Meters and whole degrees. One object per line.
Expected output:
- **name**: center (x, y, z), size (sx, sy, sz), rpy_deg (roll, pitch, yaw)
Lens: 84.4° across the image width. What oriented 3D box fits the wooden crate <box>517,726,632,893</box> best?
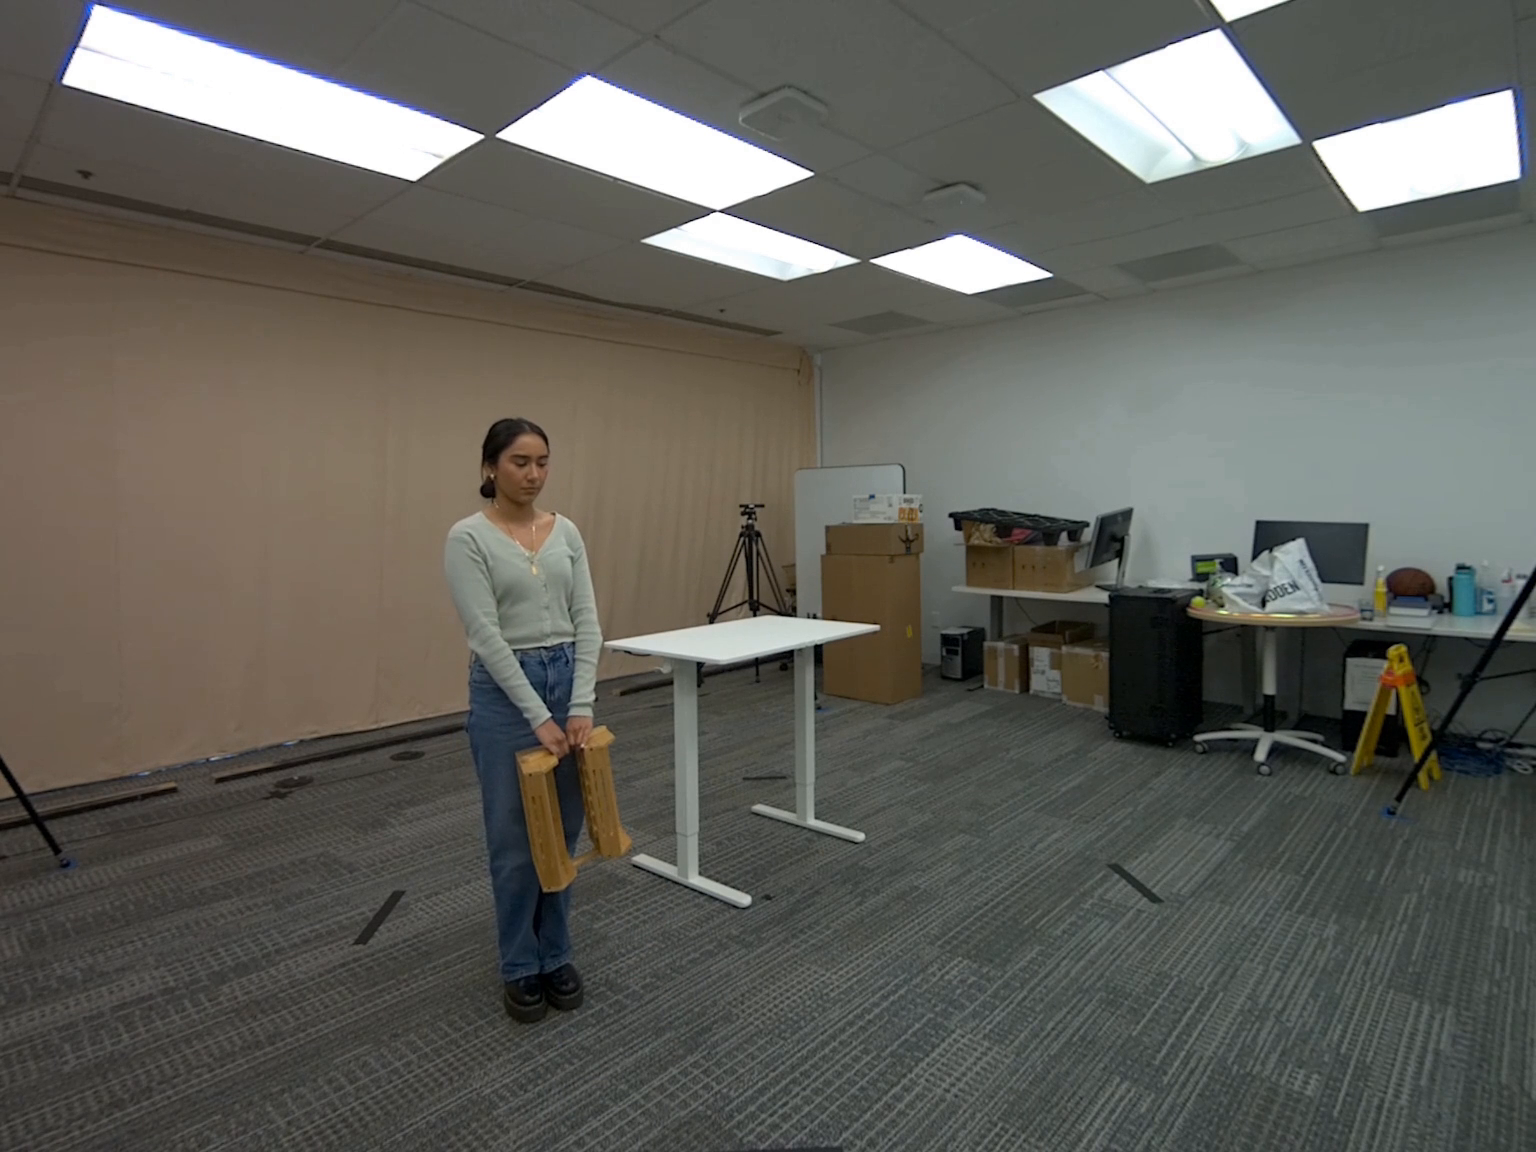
- **wooden crate**: center (-0.493, 0.598, 2.225), size (0.268, 0.324, 0.308), rpy_deg (-9, 3, -23)
